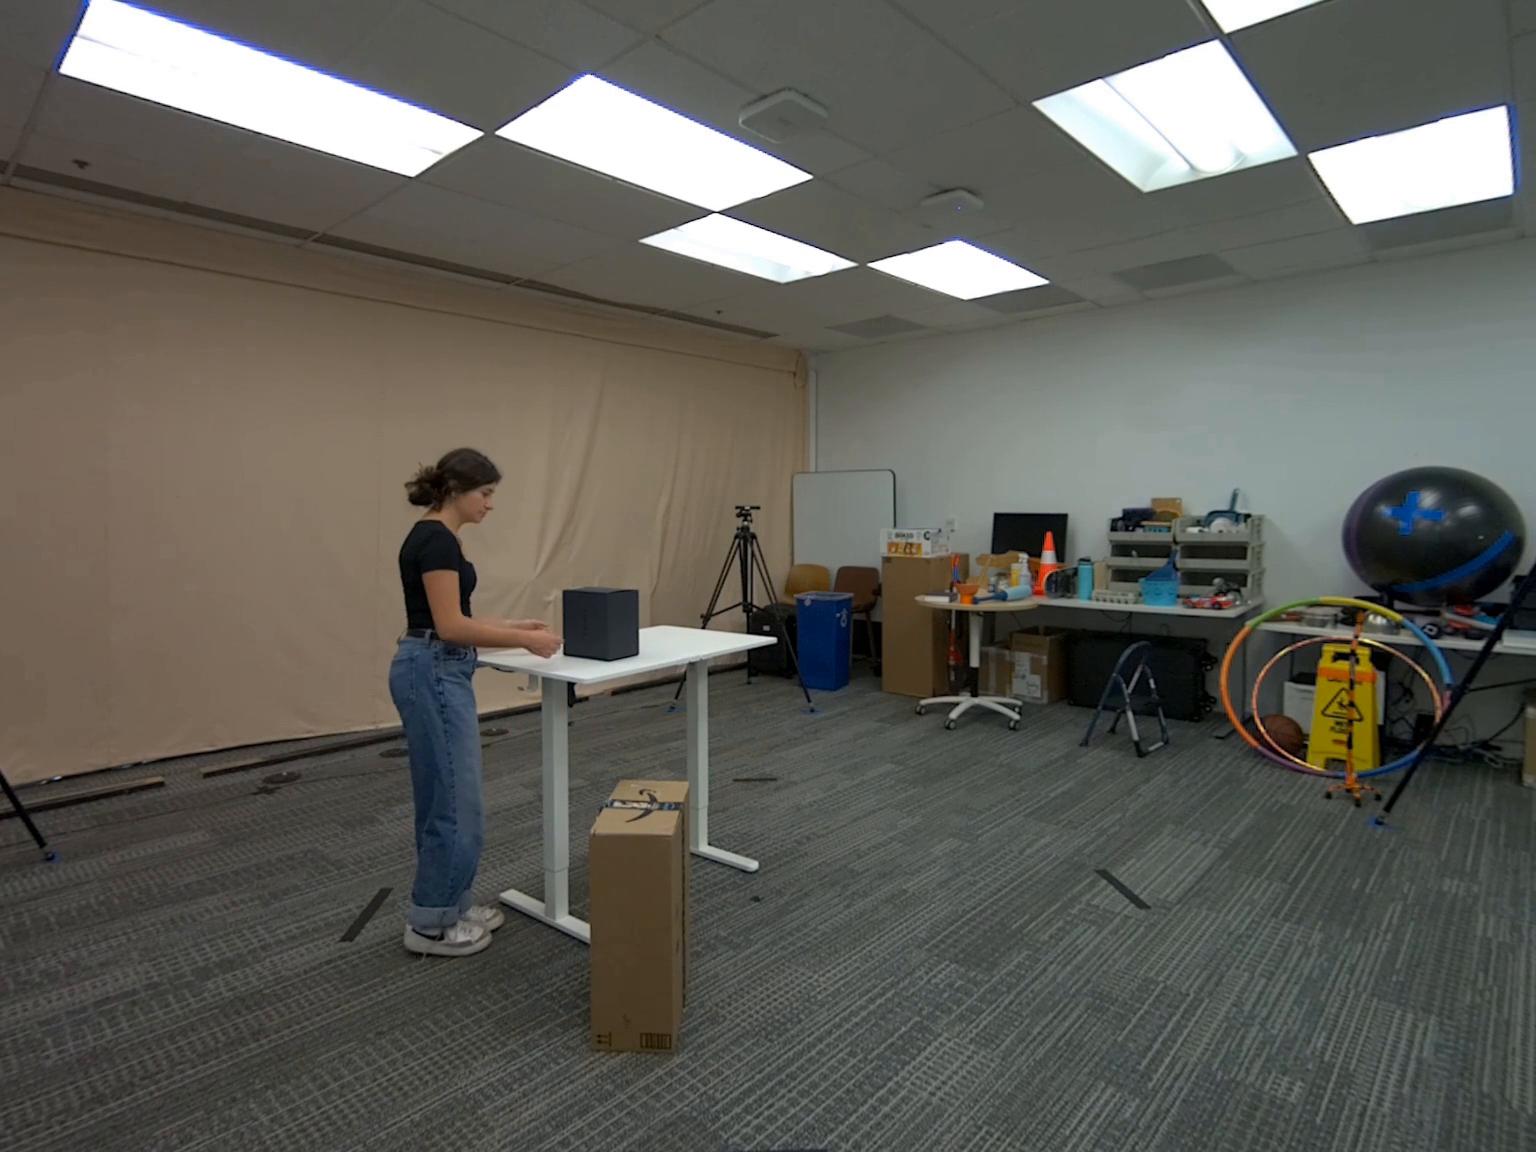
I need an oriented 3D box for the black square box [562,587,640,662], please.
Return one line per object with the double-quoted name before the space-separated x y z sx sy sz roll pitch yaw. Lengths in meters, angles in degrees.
"black square box" -0.581 0.159 2.876 0.224 0.227 0.151 2 4 36
